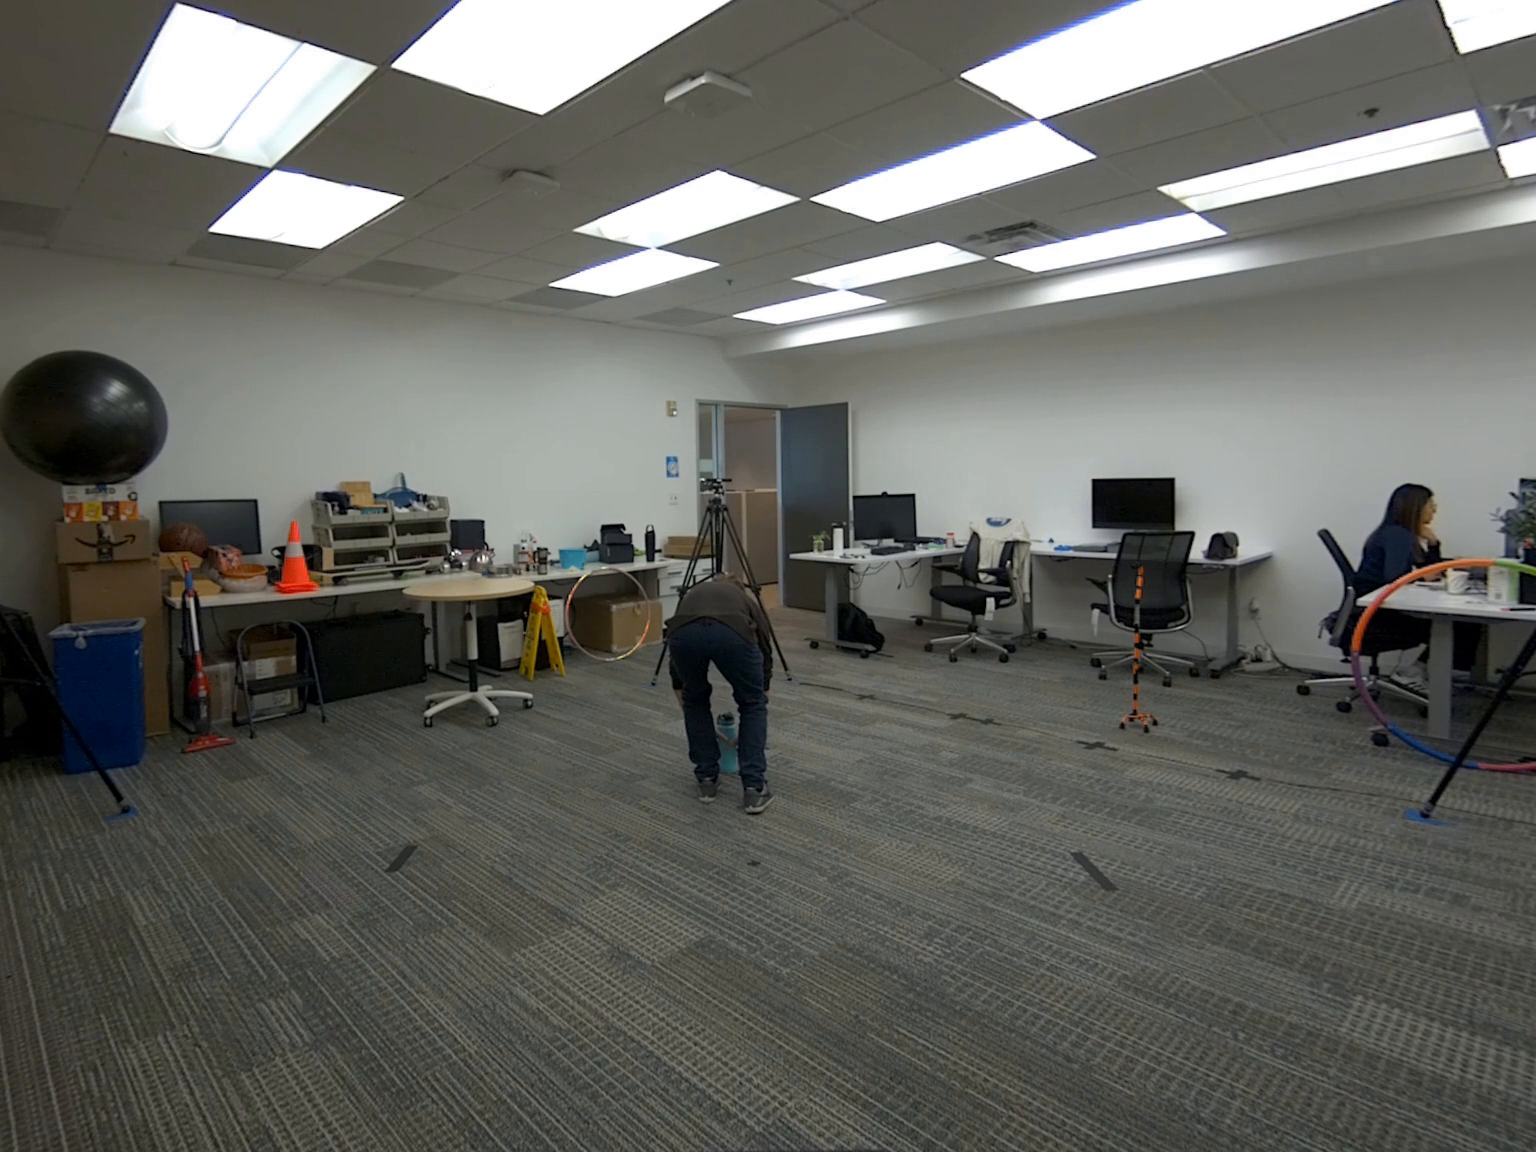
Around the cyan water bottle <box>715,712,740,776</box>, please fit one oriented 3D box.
[{"bbox_3d":[-0.199,0.800,4.109,0.092,0.284,0.092,-3,-2,-2],"label":"cyan water bottle"}]
